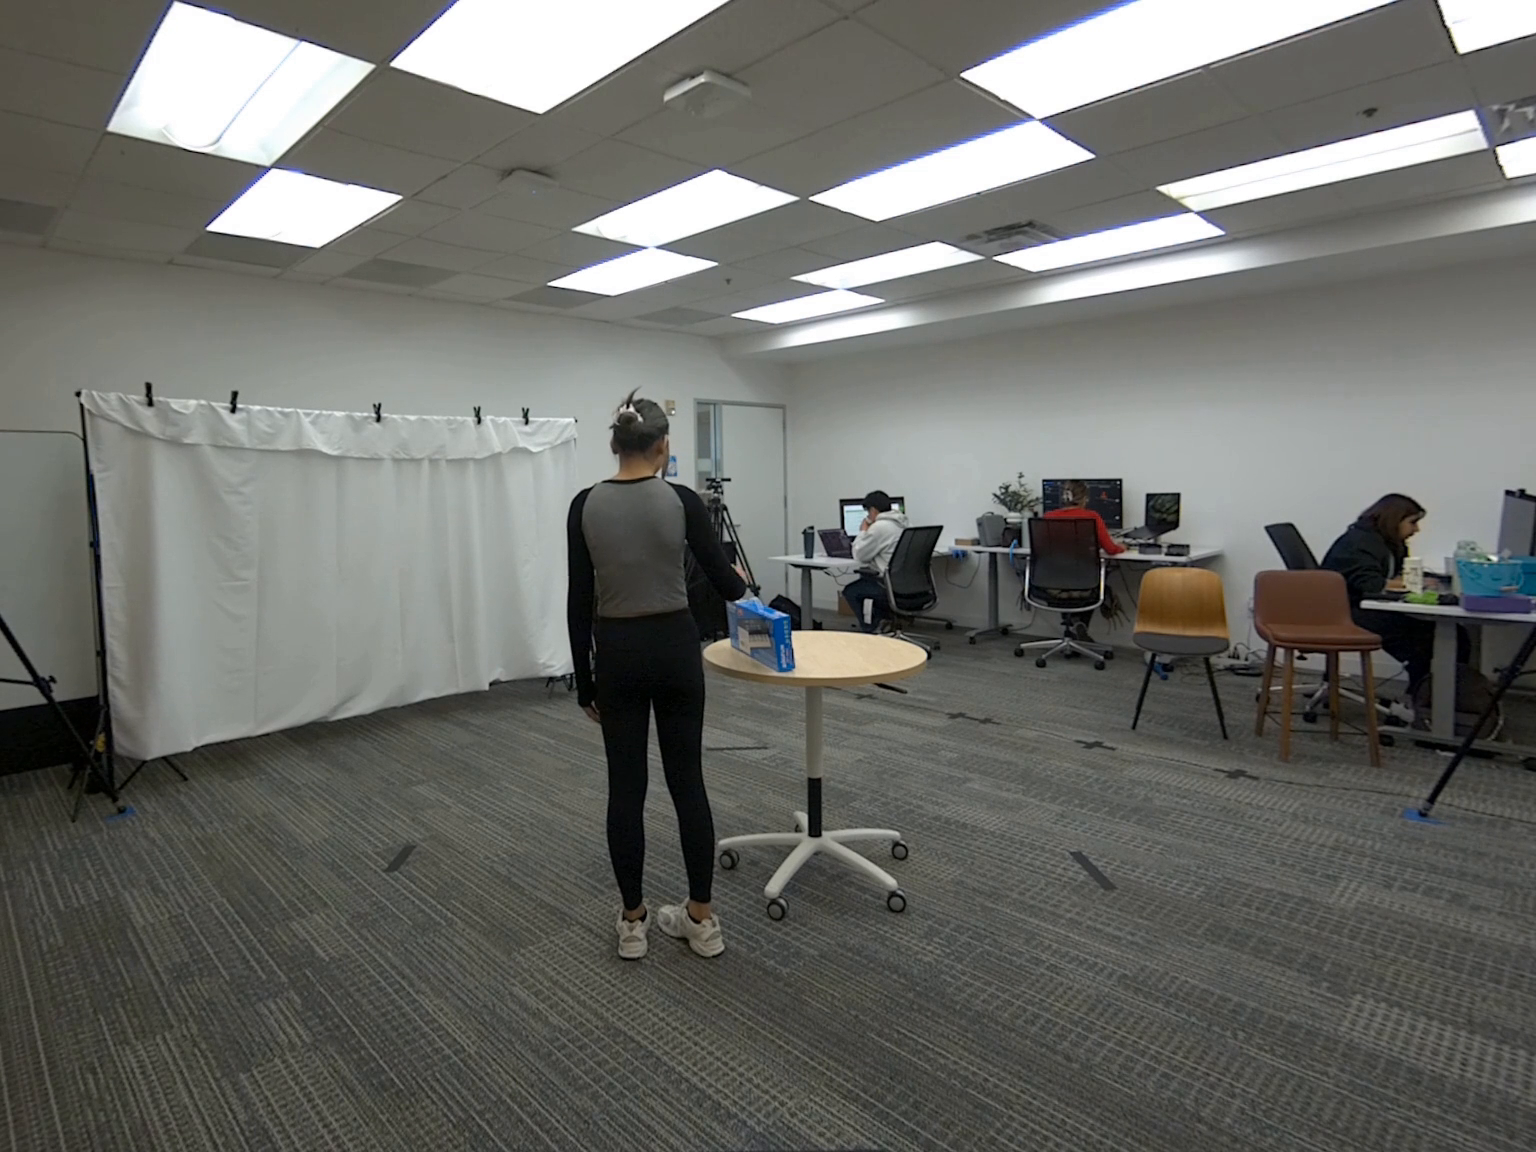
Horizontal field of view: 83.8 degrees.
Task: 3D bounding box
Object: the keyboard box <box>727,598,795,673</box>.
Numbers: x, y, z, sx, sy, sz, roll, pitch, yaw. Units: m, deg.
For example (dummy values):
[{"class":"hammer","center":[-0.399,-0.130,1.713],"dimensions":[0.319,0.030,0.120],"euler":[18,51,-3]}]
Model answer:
[{"class":"keyboard box","center":[-0.030,0.190,2.851],"dimensions":[0.058,0.175,0.447],"euler":[-8,9,-20]}]
